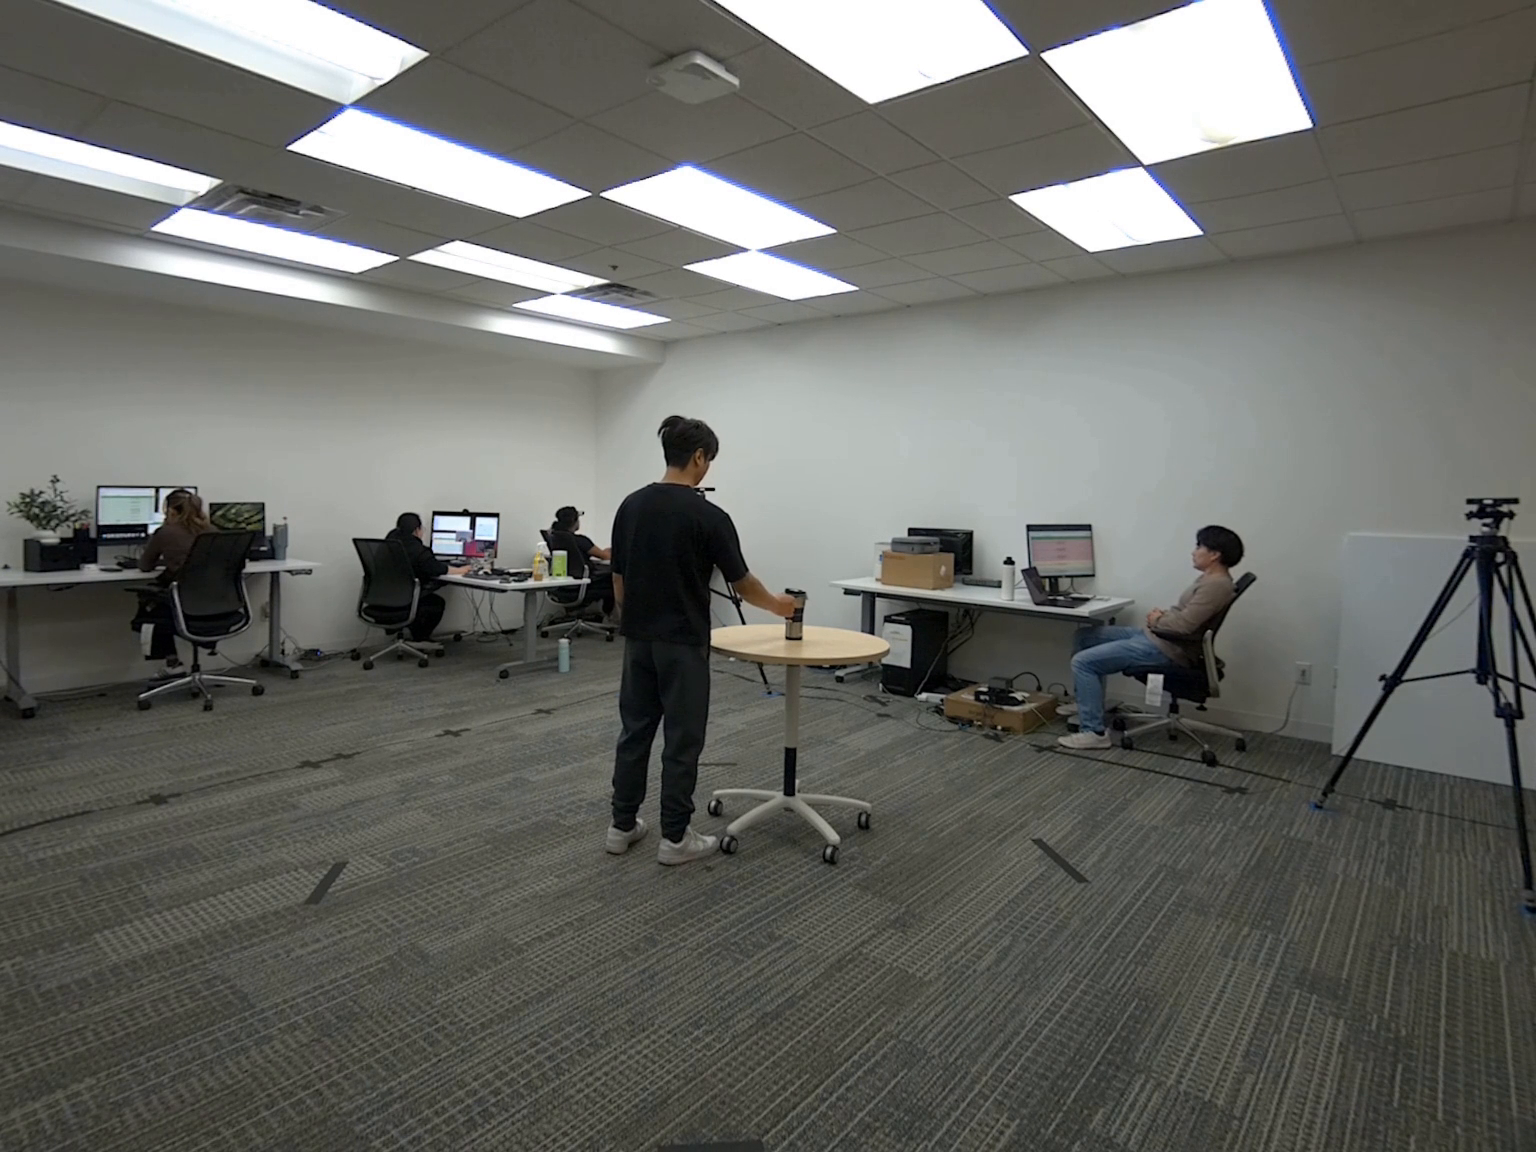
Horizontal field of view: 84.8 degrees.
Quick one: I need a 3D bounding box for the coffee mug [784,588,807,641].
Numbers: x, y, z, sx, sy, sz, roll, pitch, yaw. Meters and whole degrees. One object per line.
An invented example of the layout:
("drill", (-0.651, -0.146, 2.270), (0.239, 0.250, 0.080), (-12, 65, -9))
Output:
("coffee mug", (0.083, 0.156, 3.455), (0.118, 0.202, 0.091), (1, 8, -40))
